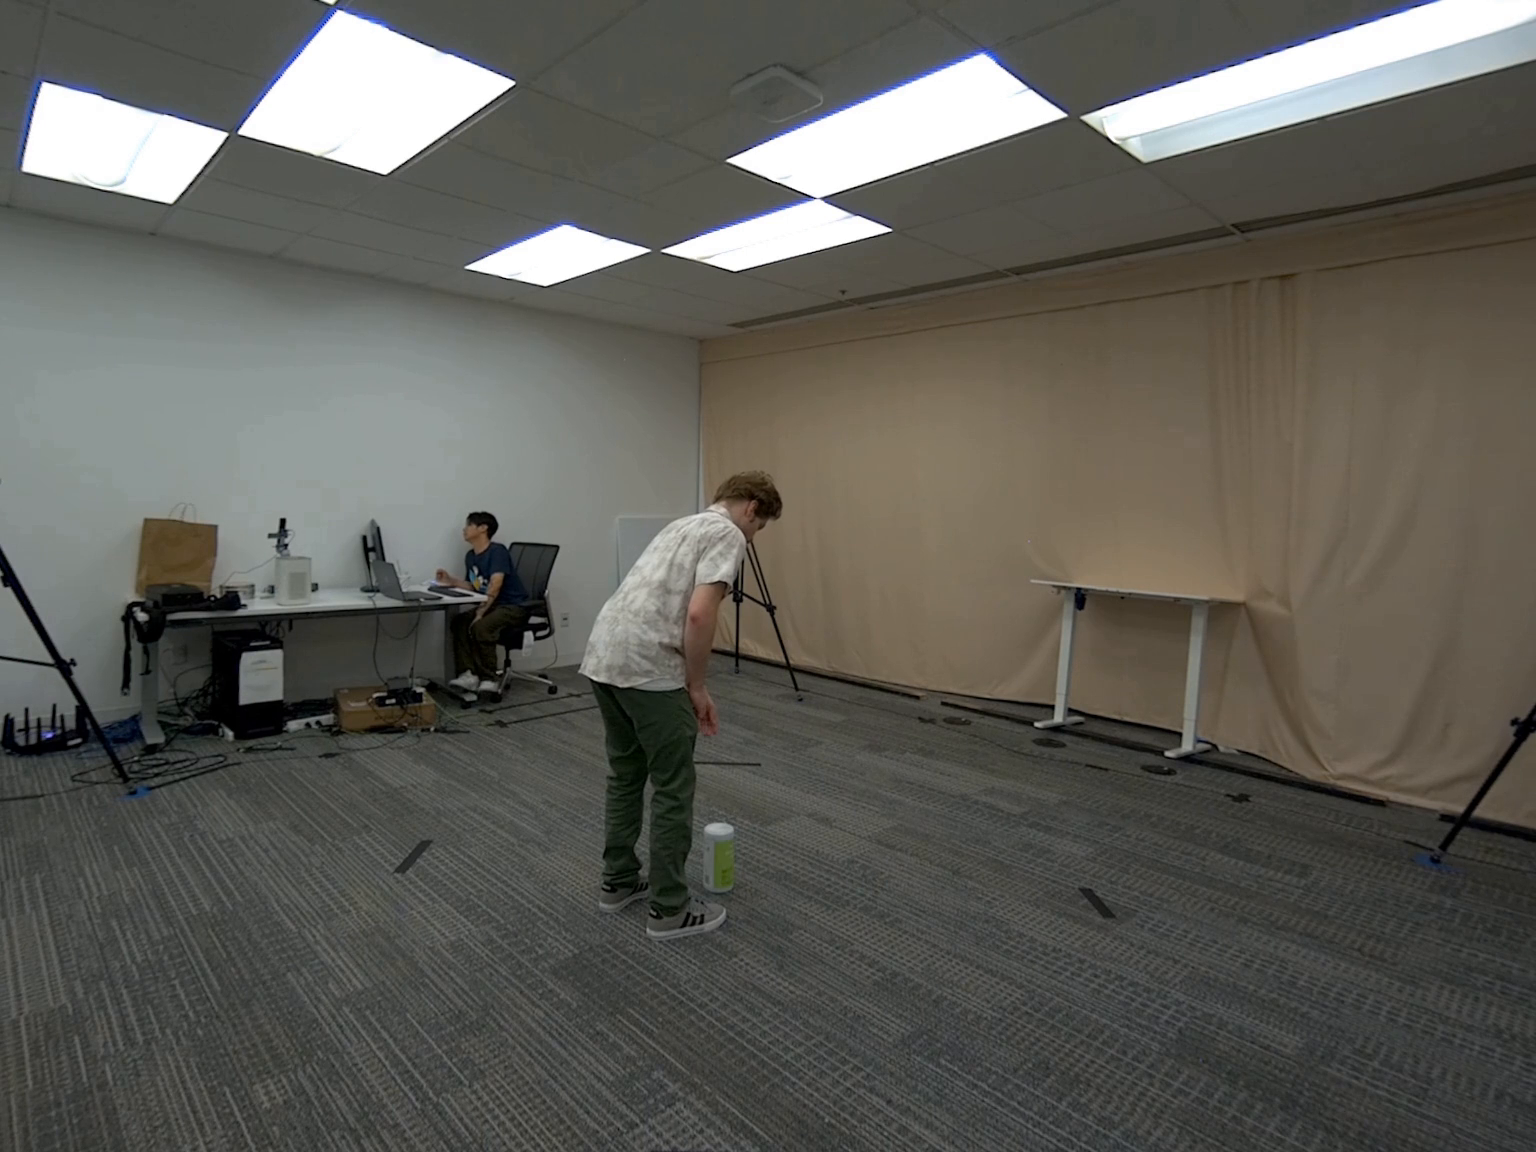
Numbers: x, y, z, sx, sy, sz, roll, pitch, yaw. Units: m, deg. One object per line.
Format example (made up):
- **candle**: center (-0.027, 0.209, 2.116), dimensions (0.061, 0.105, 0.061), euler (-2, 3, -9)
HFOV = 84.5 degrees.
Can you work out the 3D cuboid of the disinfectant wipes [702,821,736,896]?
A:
- **disinfectant wipes**: center (-0.184, 1.010, 3.008), dimensions (0.118, 0.217, 0.118), euler (1, 3, -1)
